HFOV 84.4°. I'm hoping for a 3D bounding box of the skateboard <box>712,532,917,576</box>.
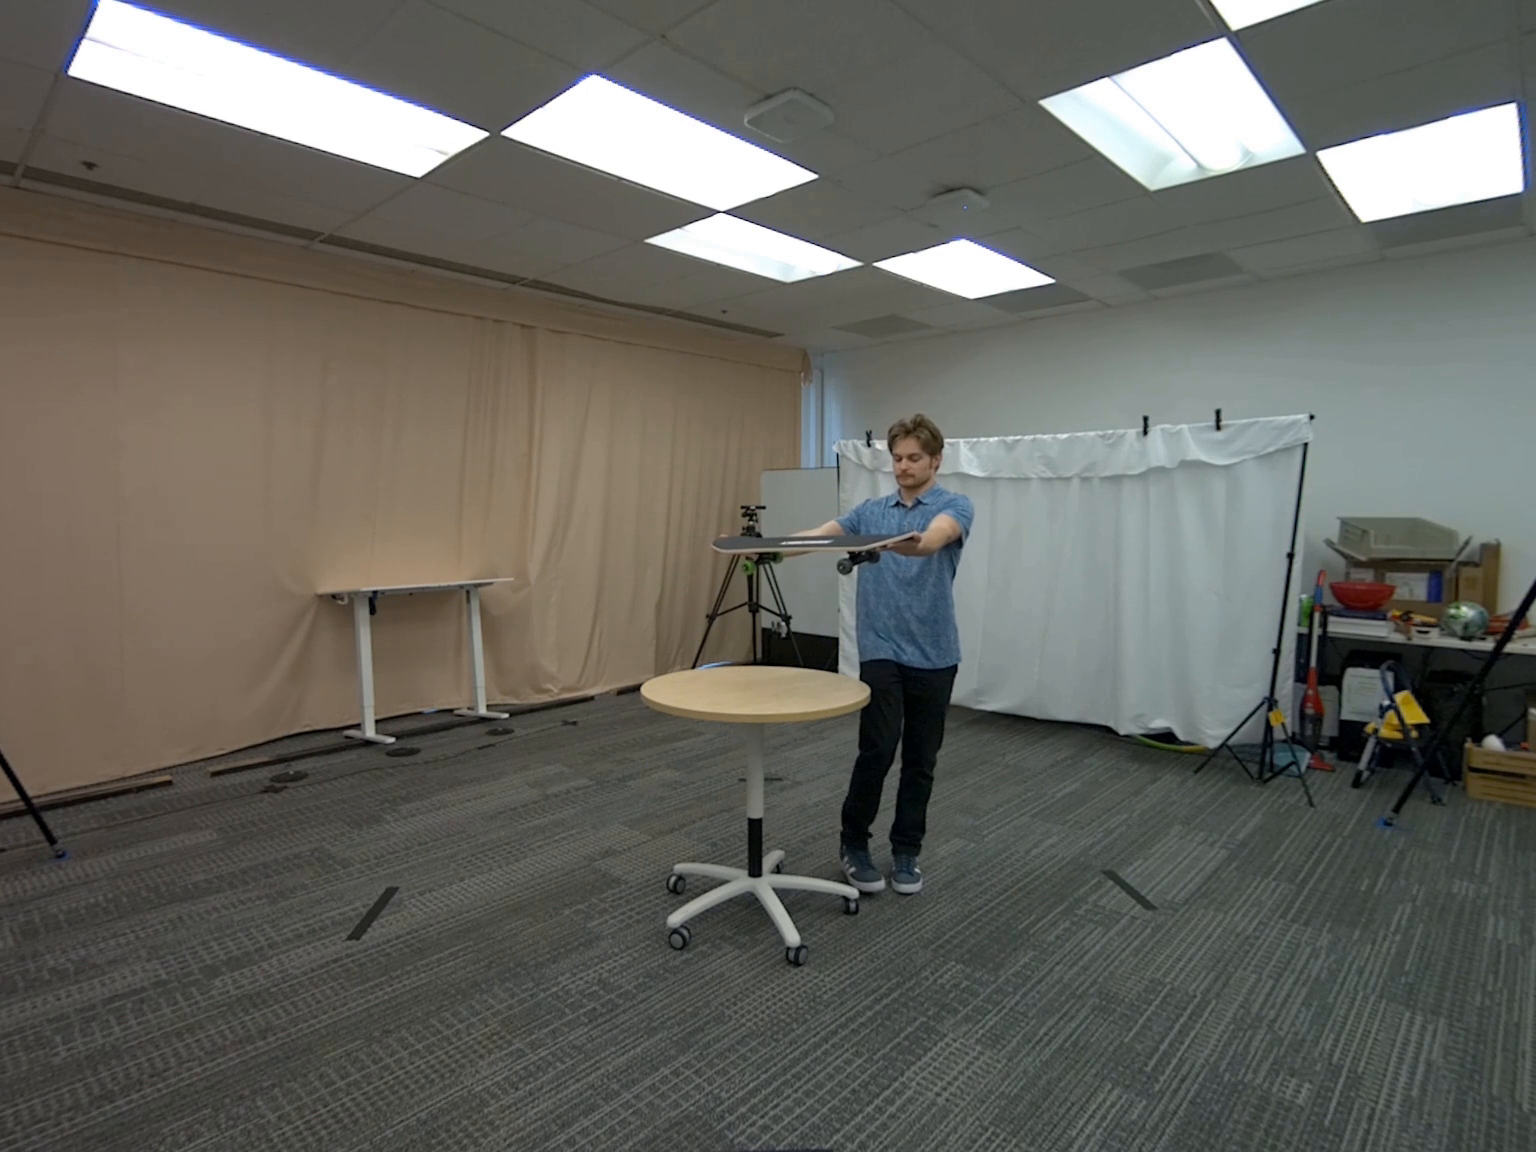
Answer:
[{"bbox_3d":[0.140,-0.074,2.755,0.811,0.109,0.189,1,15,44],"label":"skateboard"}]
